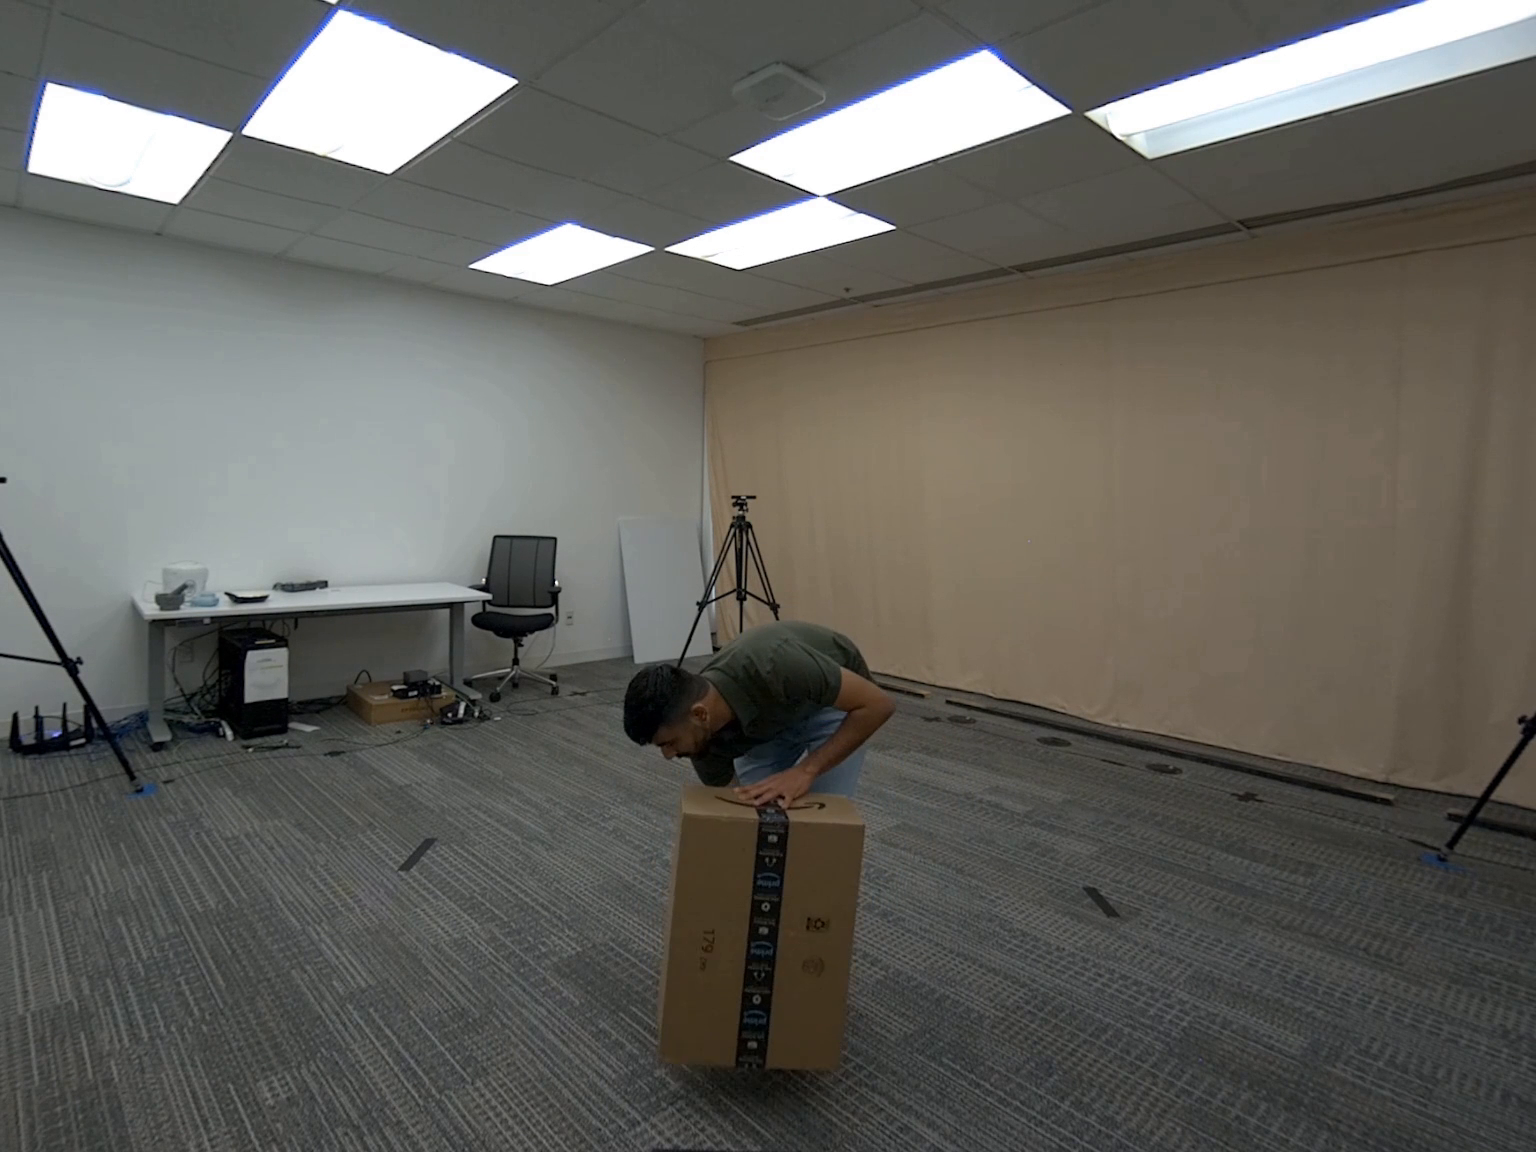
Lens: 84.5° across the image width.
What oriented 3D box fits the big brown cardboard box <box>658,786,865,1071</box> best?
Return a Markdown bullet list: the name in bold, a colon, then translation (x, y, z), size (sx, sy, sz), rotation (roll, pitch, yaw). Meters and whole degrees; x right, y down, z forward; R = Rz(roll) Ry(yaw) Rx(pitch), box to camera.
- **big brown cardboard box**: translation (-0.035, 0.818, 1.975), size (0.416, 0.588, 0.234), rotation (6, 2, -4)
